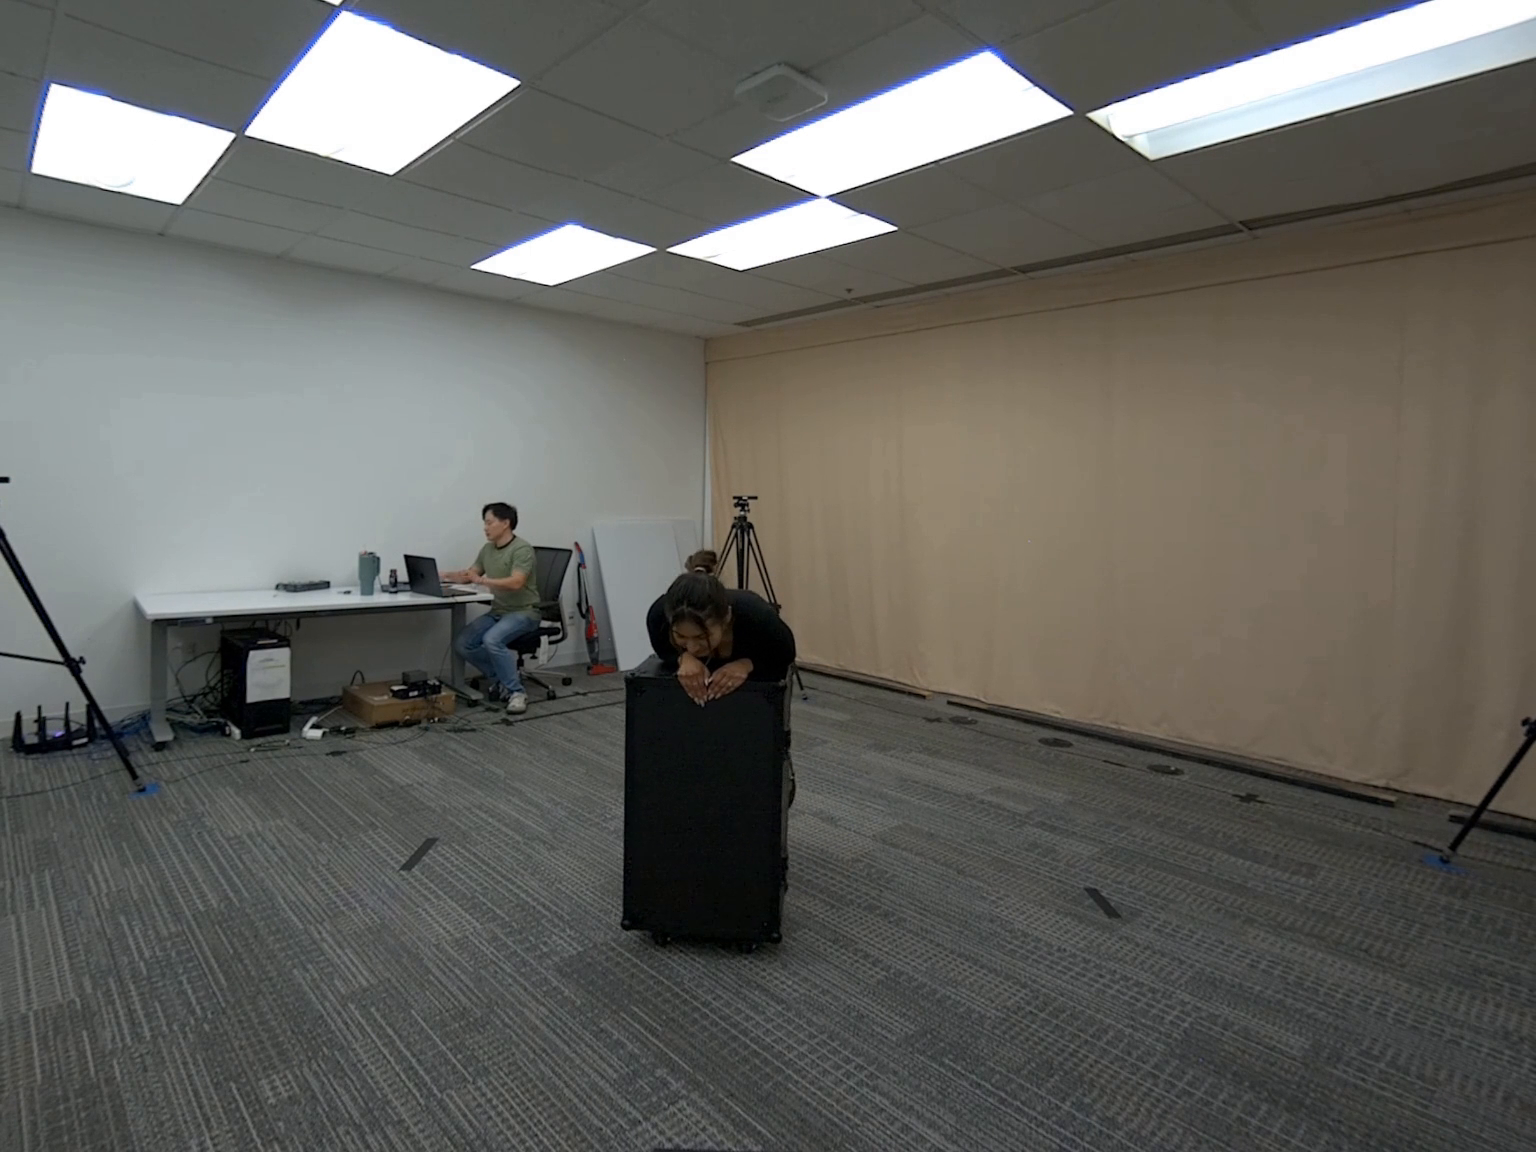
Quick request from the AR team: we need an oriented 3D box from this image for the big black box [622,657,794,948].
[{"bbox_3d":[-0.191,0.719,2.687,0.524,0.860,0.395,1,3,6],"label":"big black box"}]
